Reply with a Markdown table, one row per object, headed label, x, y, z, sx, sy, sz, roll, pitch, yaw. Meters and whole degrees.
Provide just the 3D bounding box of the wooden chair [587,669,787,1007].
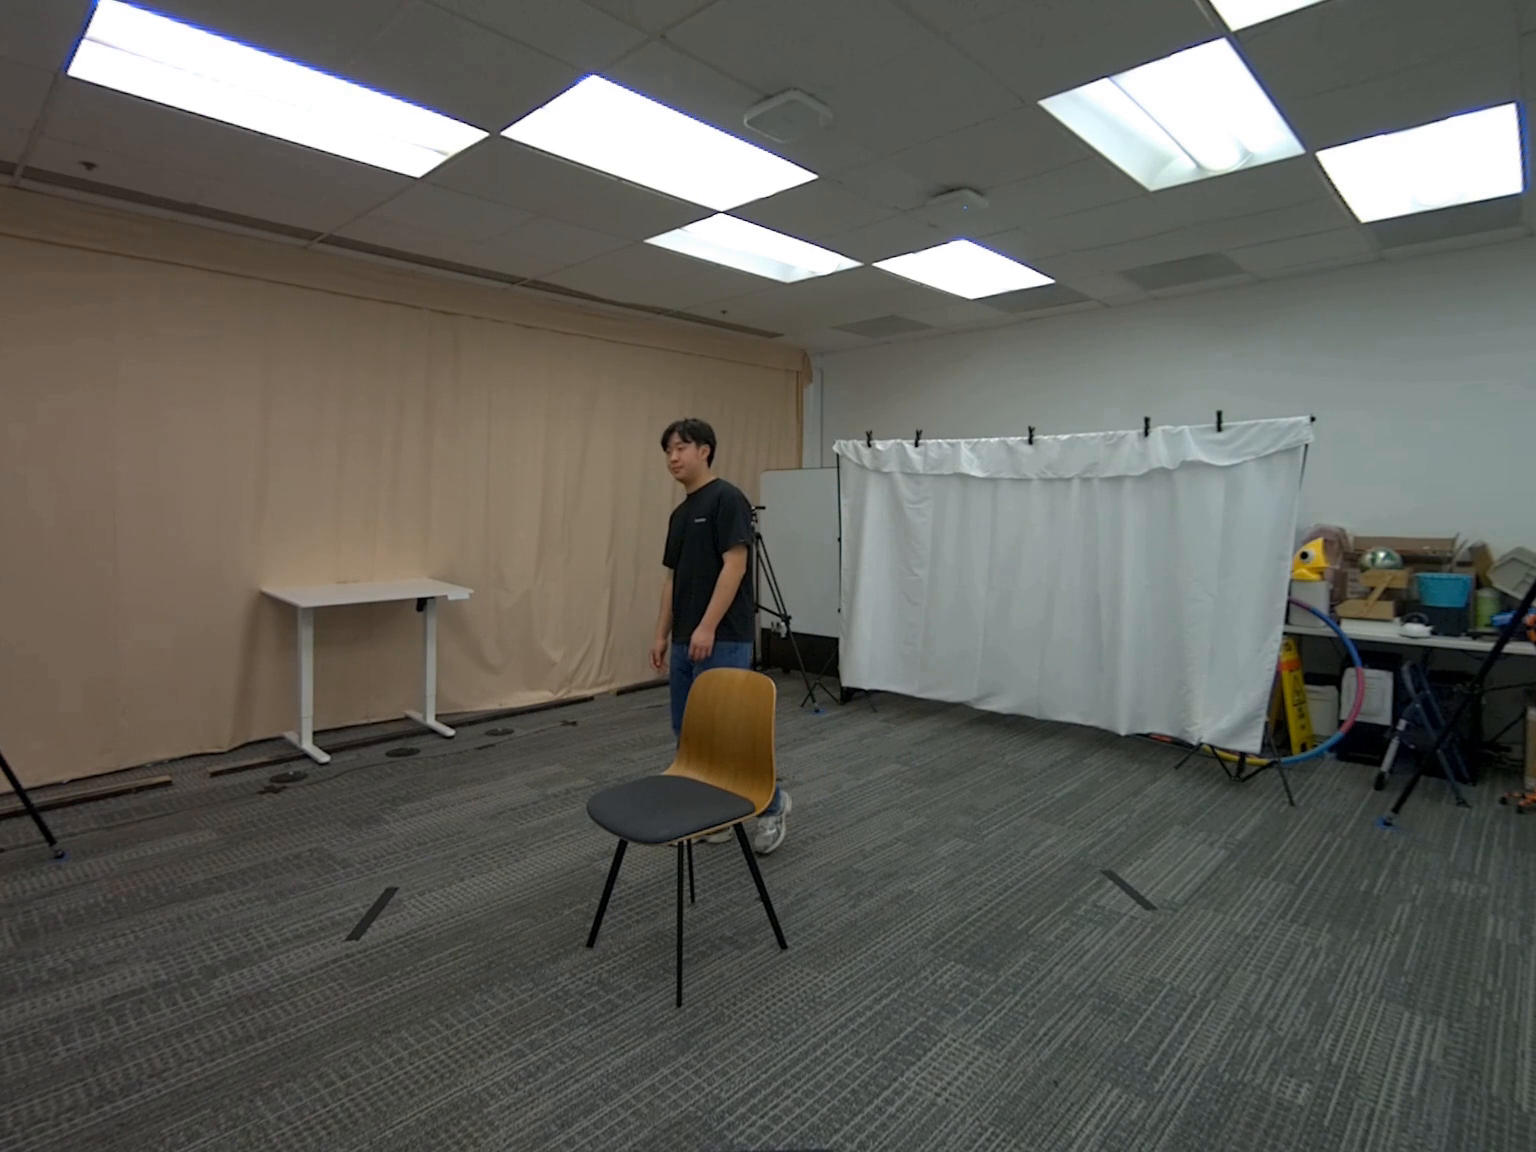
| label | x | y | z | sx | sy | sz | roll | pitch | yaw |
| --- | --- | --- | --- | --- | --- | --- | --- | --- | --- |
| wooden chair | -0.254 | 0.748 | 2.617 | 0.506 | 0.877 | 0.494 | 3 | 1 | -45 |
